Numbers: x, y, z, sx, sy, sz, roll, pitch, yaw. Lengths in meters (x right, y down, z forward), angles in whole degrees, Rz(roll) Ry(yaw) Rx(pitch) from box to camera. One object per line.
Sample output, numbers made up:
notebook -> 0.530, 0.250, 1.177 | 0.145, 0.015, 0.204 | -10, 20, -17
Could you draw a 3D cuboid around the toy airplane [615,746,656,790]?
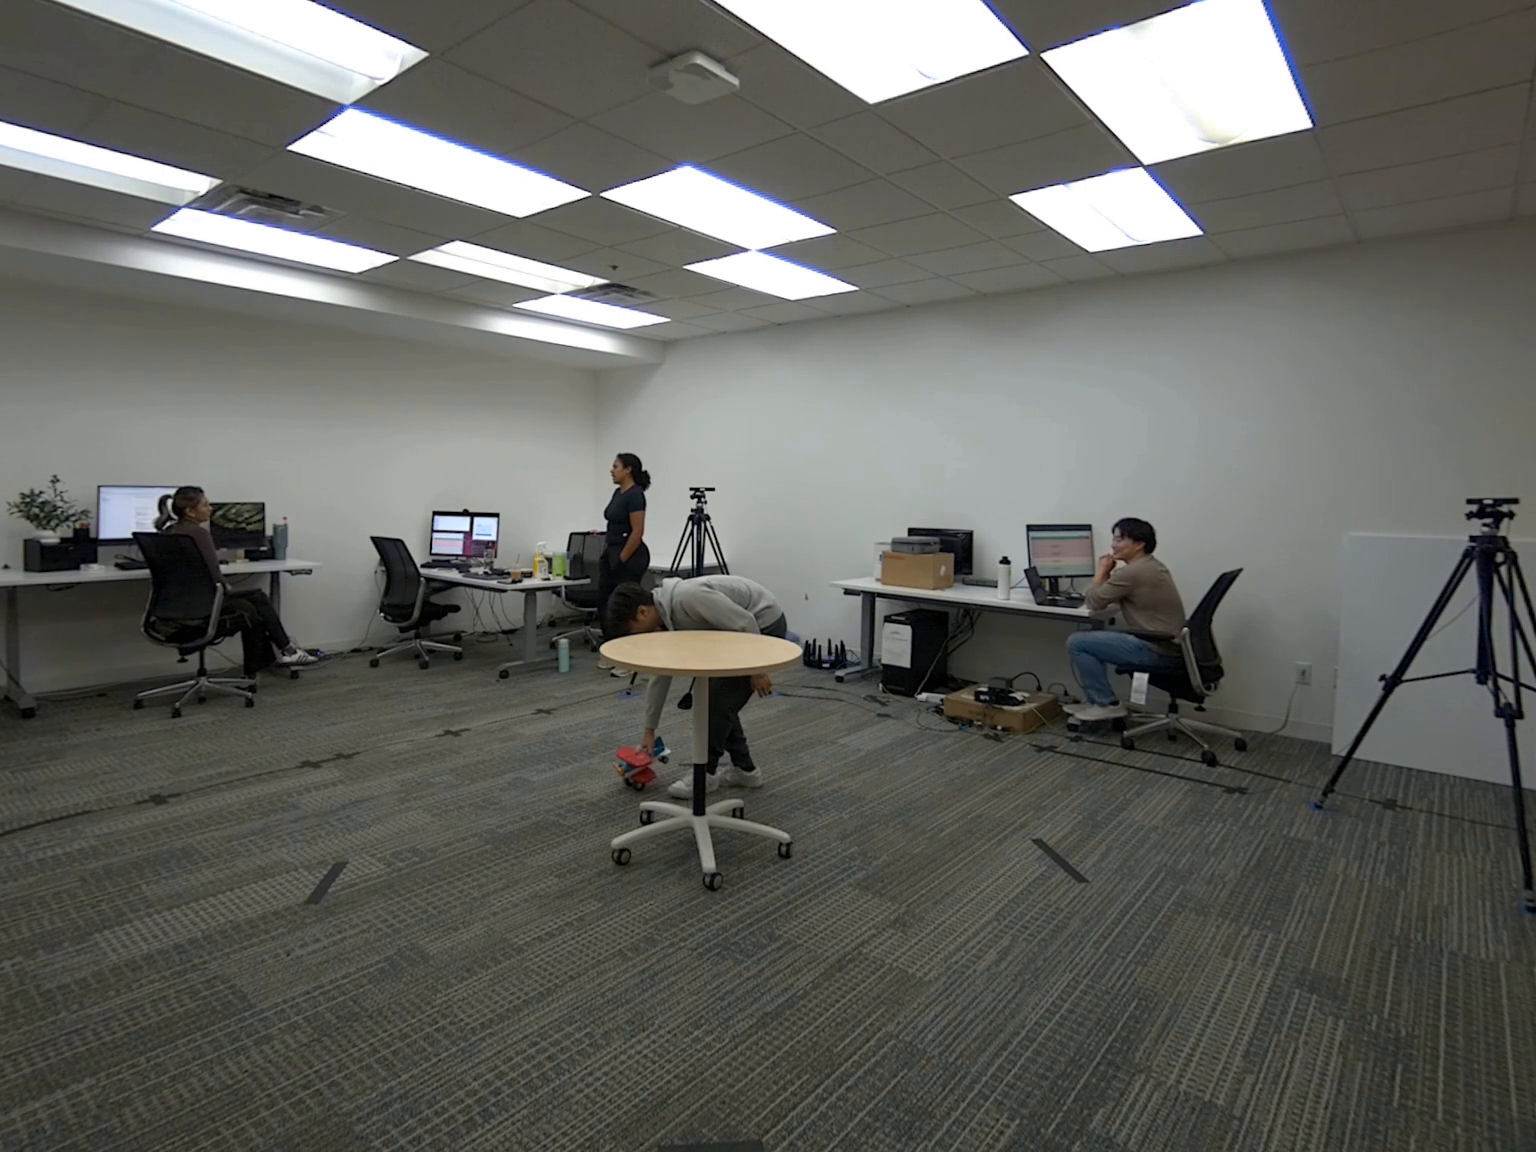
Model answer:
toy airplane -> -0.609, 0.869, 3.983 | 0.256, 0.152, 0.261 | -13, 26, 29
